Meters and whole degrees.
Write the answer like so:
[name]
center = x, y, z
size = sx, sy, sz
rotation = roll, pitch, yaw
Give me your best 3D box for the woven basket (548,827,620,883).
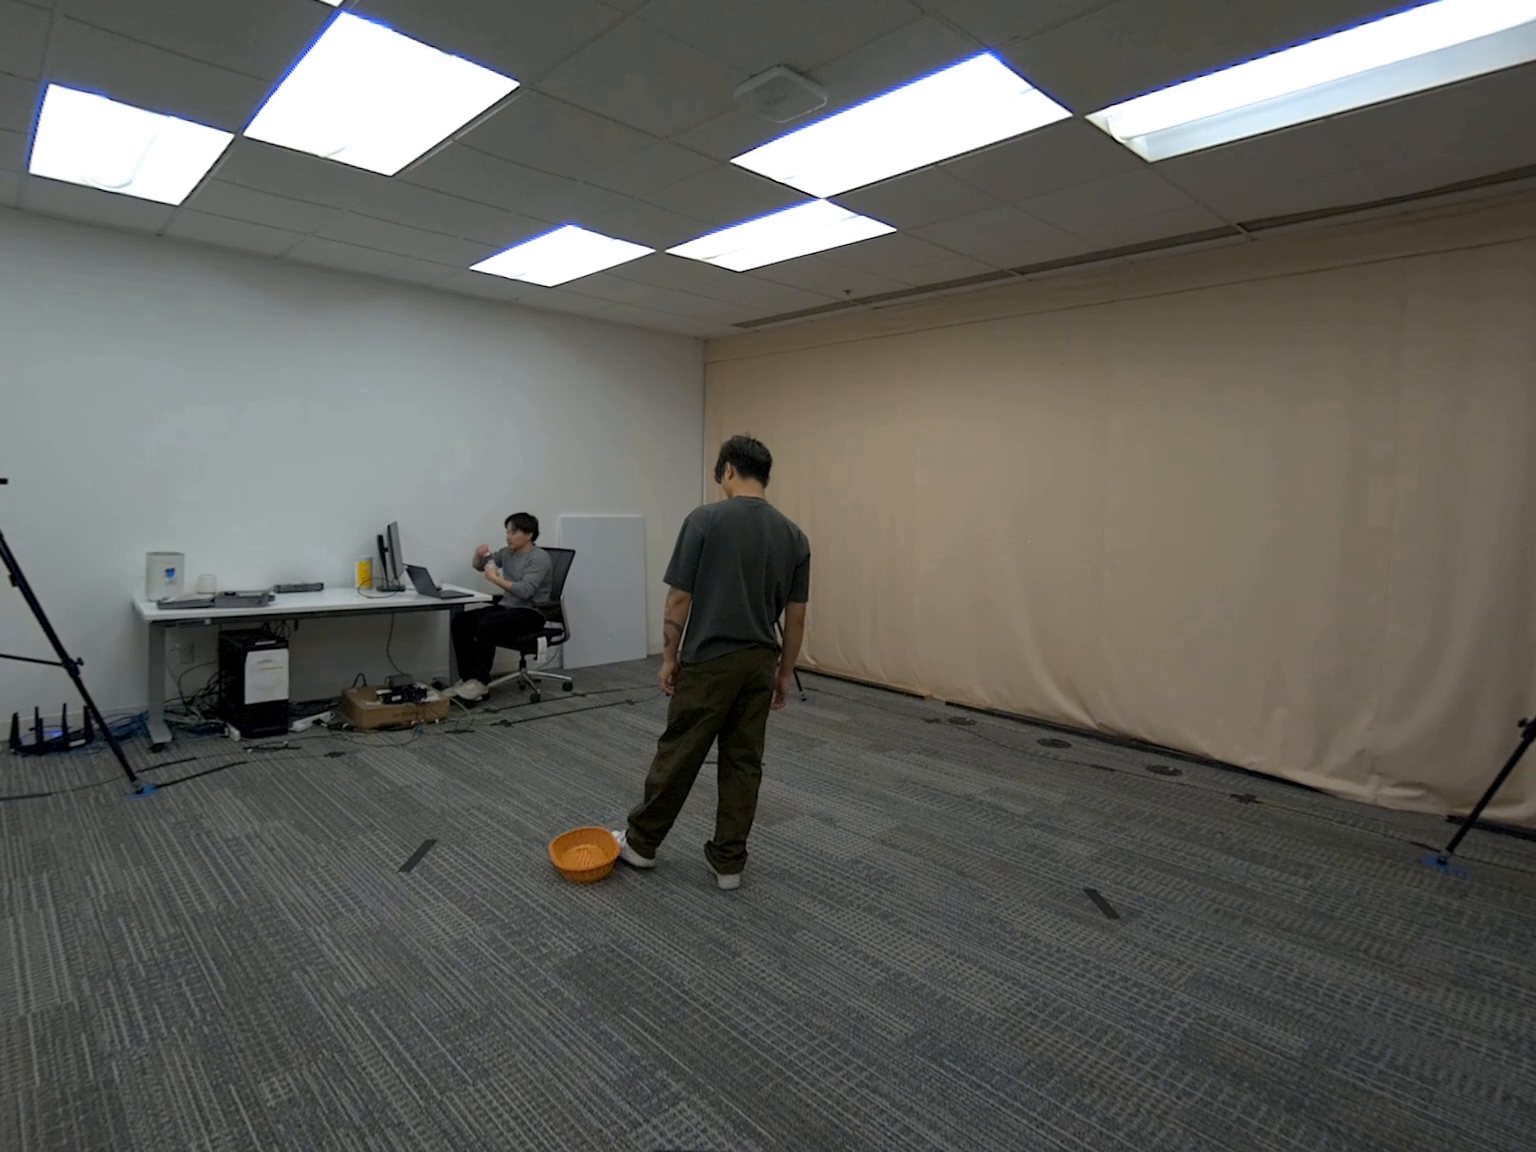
[woven basket]
center = -0.688, 1.041, 3.145
size = 0.248, 0.073, 0.358
rotation = -7, 9, -25
